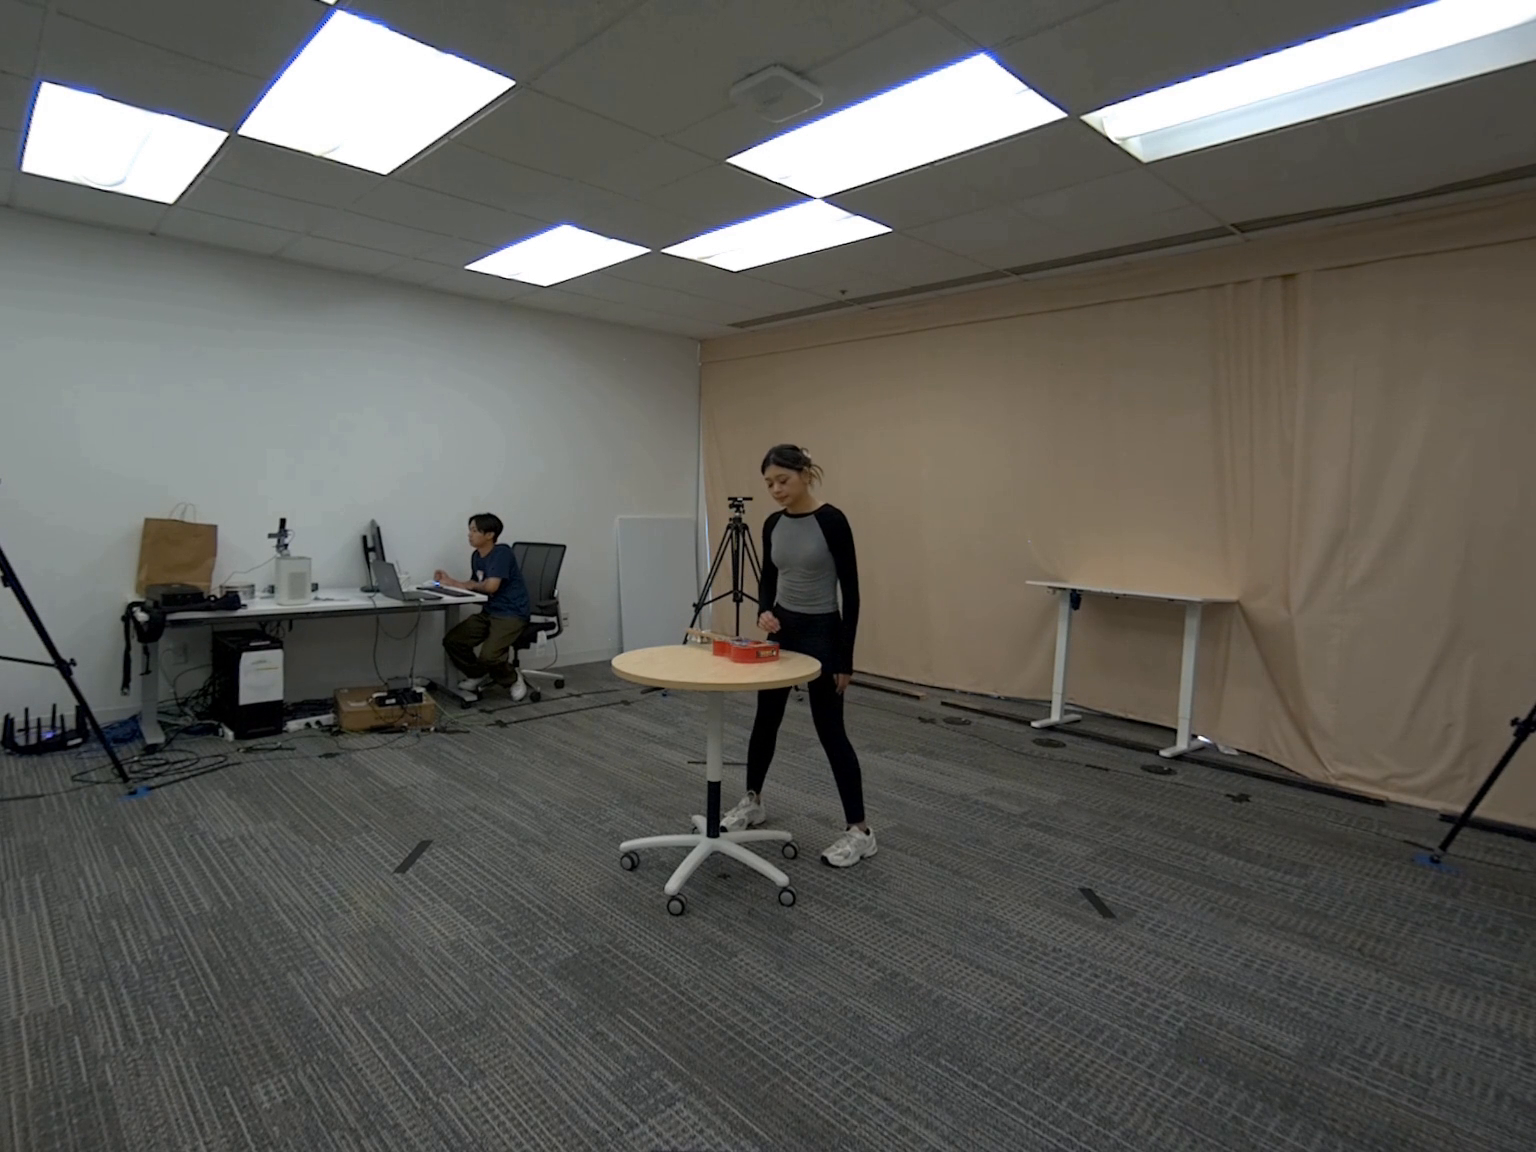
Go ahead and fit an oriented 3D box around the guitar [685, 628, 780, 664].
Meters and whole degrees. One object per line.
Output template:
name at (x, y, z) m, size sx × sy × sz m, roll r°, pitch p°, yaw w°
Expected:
guitar at (-0.152, 0.267, 3.296) m, size 0.189 × 0.070 × 0.509 m, roll -1°, pitch 5°, yaw -31°
